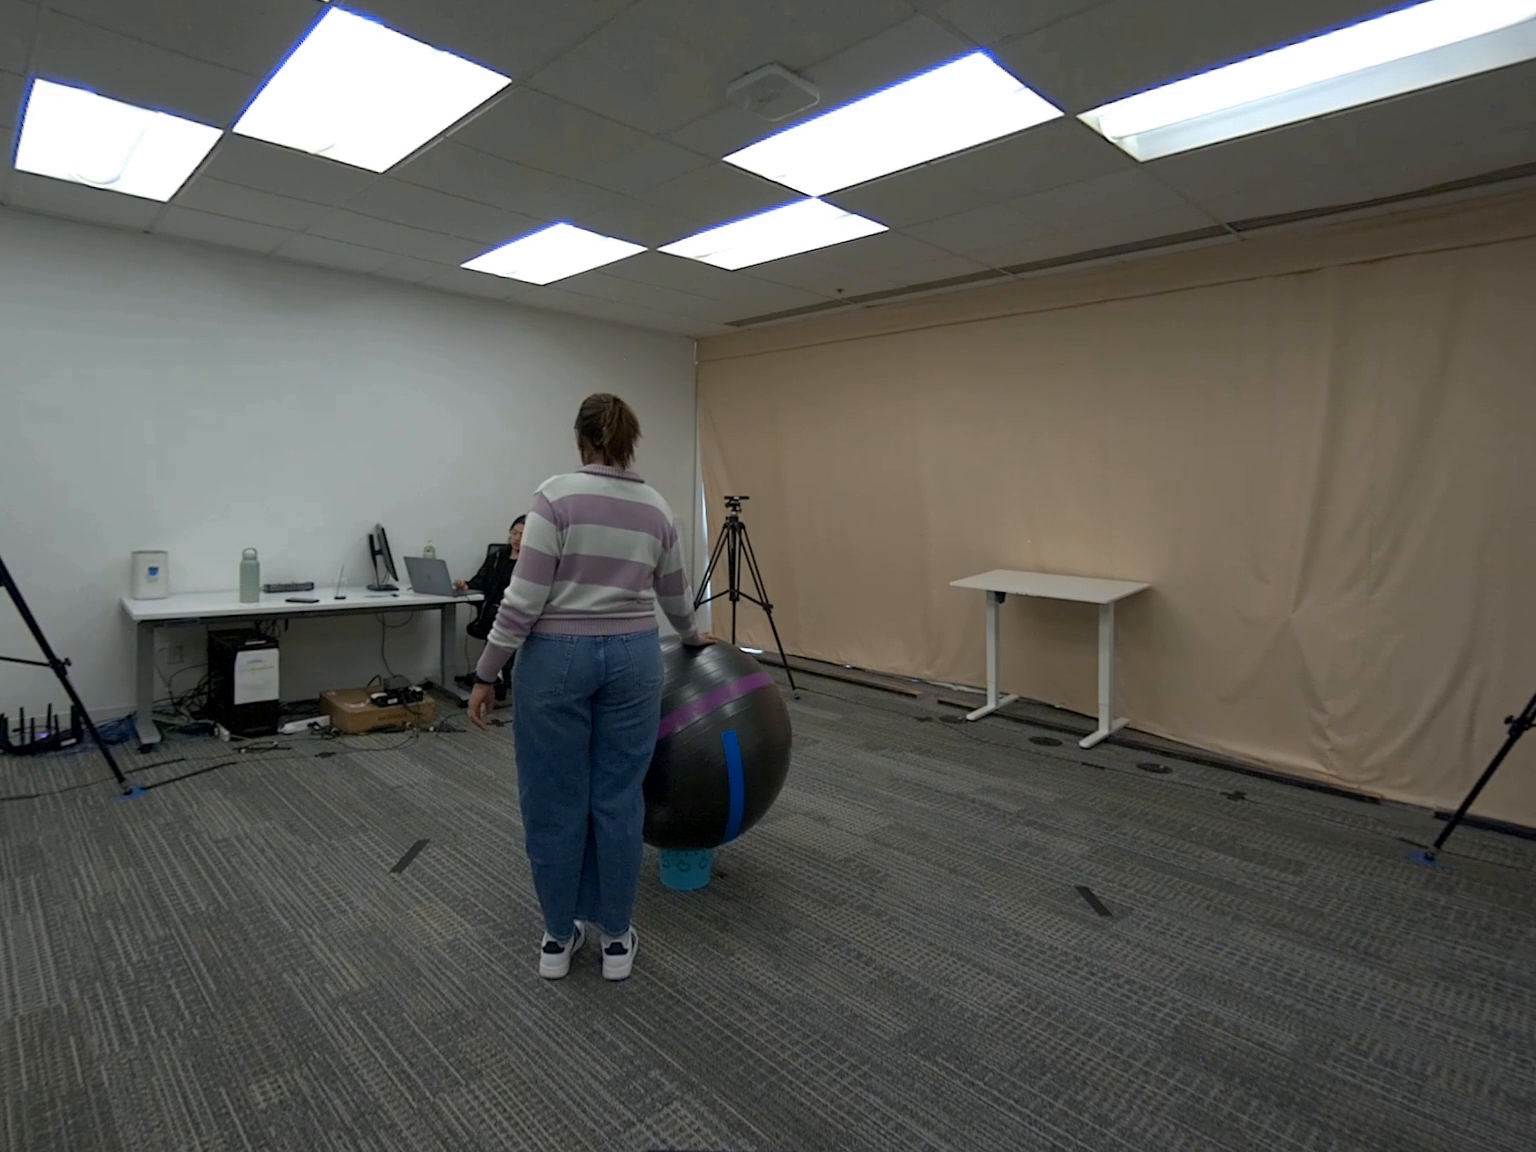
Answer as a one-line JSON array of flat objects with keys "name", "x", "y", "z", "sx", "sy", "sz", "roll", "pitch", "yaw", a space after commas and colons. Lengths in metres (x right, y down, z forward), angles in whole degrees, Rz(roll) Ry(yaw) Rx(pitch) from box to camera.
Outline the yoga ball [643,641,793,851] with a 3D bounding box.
[{"name": "yoga ball", "x": -0.291, "y": 0.595, "z": 3.043, "sx": 0.757, "sy": 0.756, "sz": 0.761, "roll": 1, "pitch": 4, "yaw": -1}]
